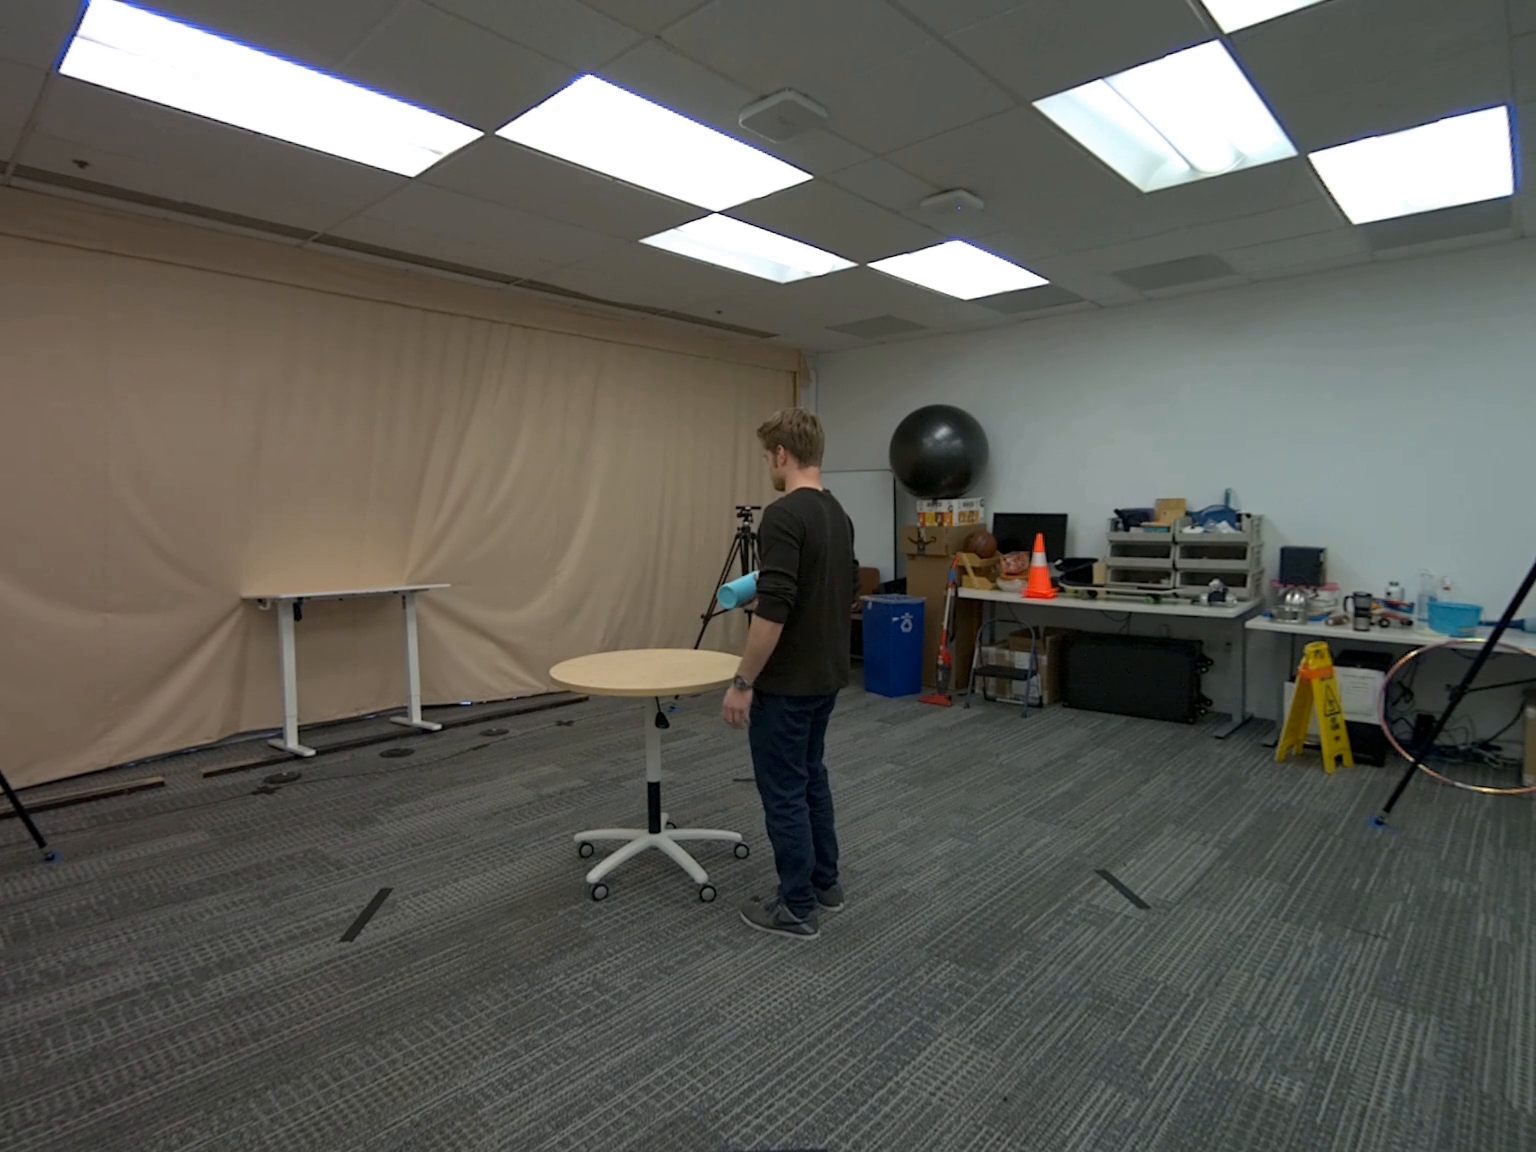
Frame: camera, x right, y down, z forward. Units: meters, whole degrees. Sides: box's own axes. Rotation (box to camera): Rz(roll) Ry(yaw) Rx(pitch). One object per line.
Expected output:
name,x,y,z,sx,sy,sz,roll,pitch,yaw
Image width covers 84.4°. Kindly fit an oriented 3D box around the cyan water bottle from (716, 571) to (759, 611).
cyan water bottle,-0.060,0.035,3.061,0.095,0.091,0.277,2,15,33
